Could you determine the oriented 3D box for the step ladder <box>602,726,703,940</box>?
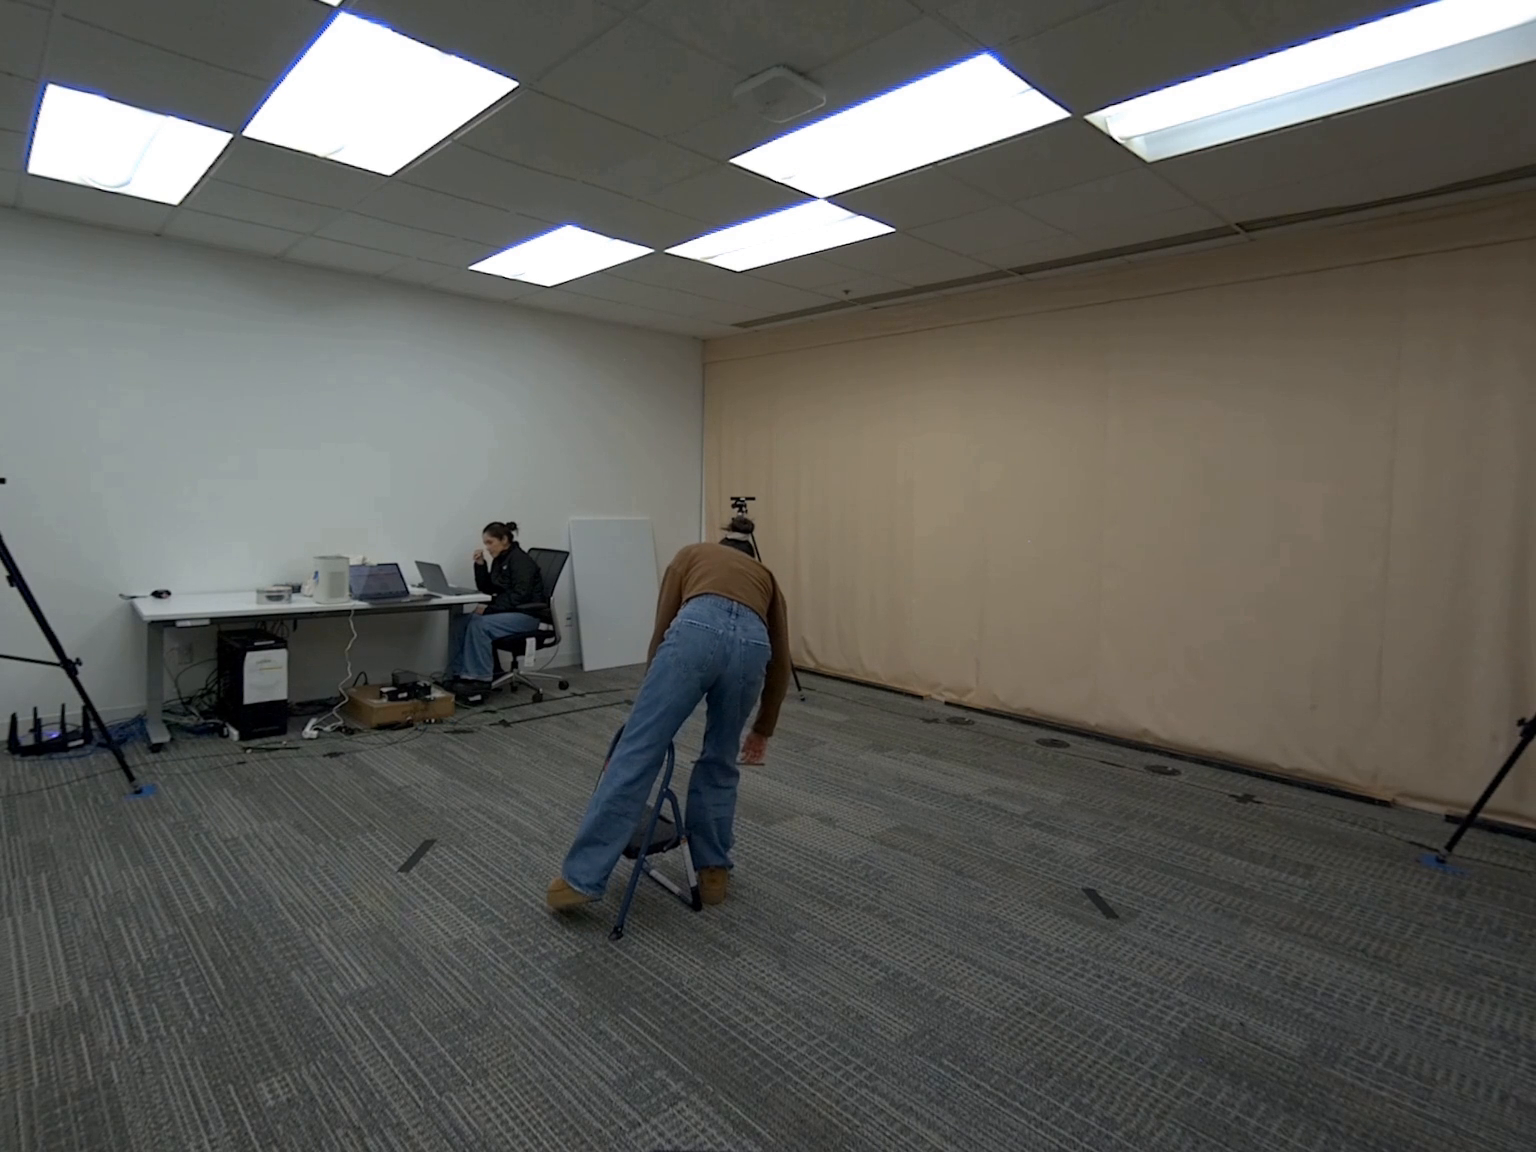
[{"bbox_3d":[-0.473,0.817,2.892,0.341,0.605,0.441,0,4,-37],"label":"step ladder"}]
